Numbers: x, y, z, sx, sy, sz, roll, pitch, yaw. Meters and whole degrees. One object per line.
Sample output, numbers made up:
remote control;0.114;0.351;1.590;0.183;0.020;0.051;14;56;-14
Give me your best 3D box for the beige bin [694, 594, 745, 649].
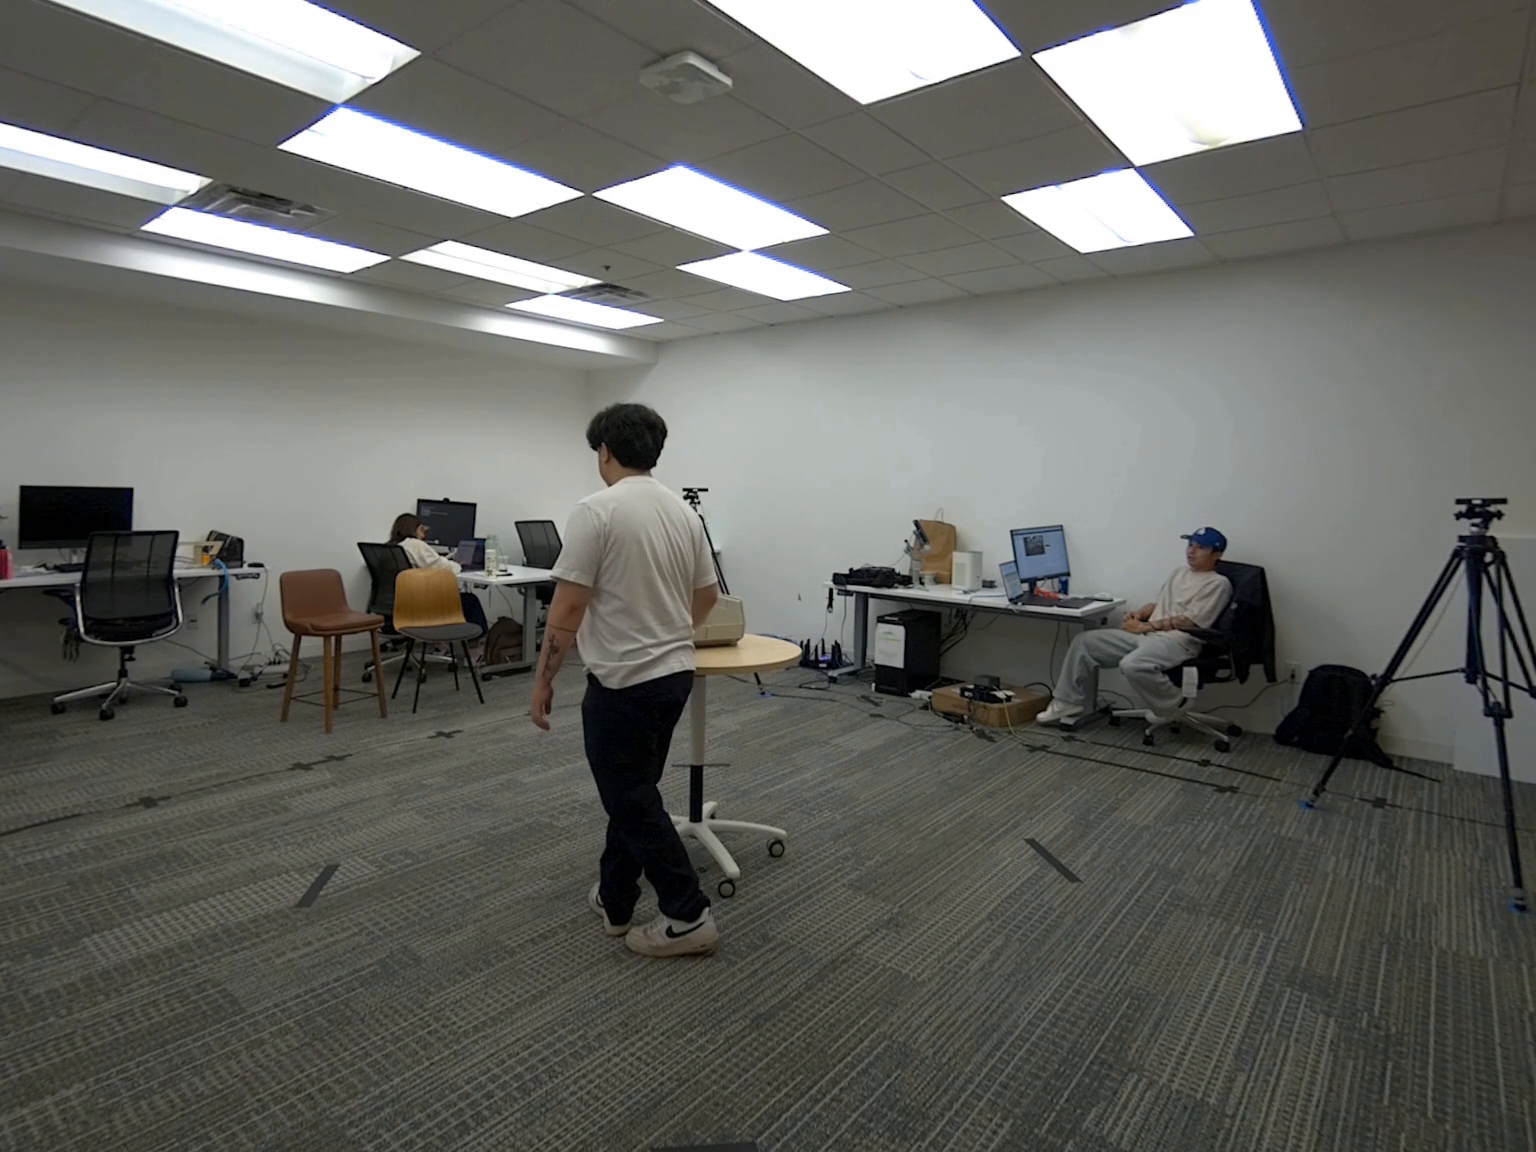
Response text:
beige bin;-0.366;0.166;3.265;0.412;0.188;0.388;-2;5;-28
